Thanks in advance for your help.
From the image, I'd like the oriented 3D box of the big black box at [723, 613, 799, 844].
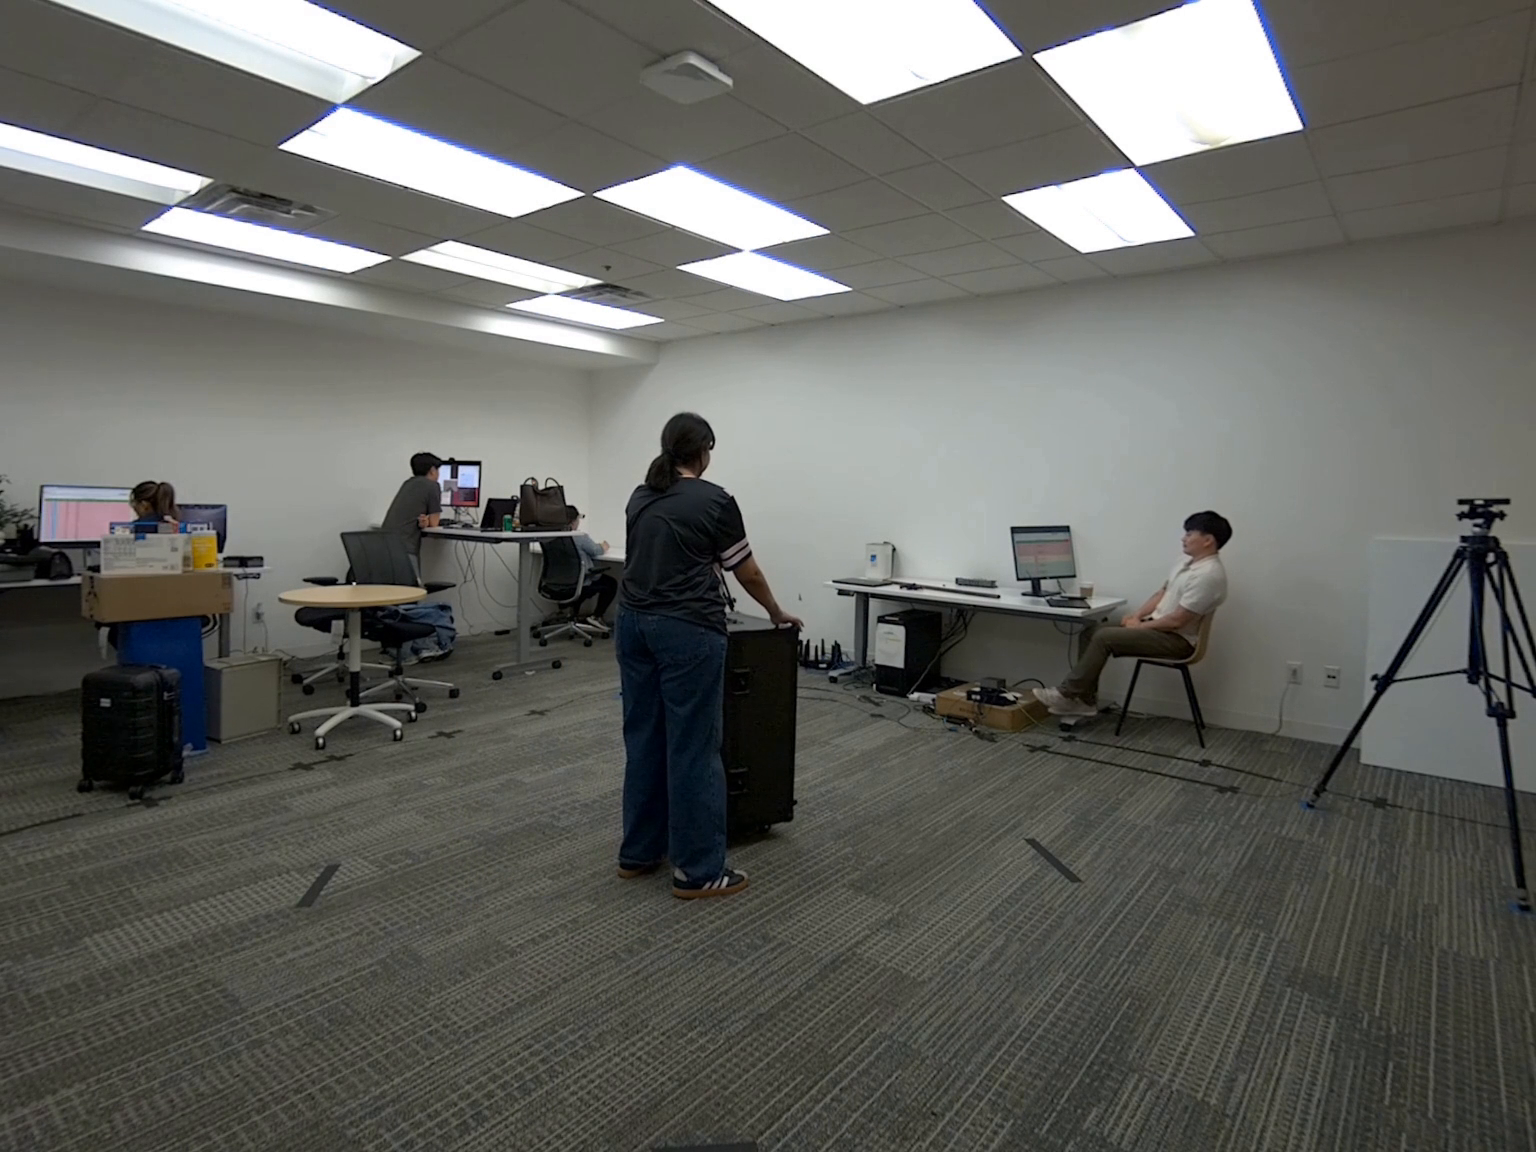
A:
[{"bbox_3d":[-0.183,0.607,3.513,0.374,0.866,0.540,0,3,-32],"label":"big black box"}]
